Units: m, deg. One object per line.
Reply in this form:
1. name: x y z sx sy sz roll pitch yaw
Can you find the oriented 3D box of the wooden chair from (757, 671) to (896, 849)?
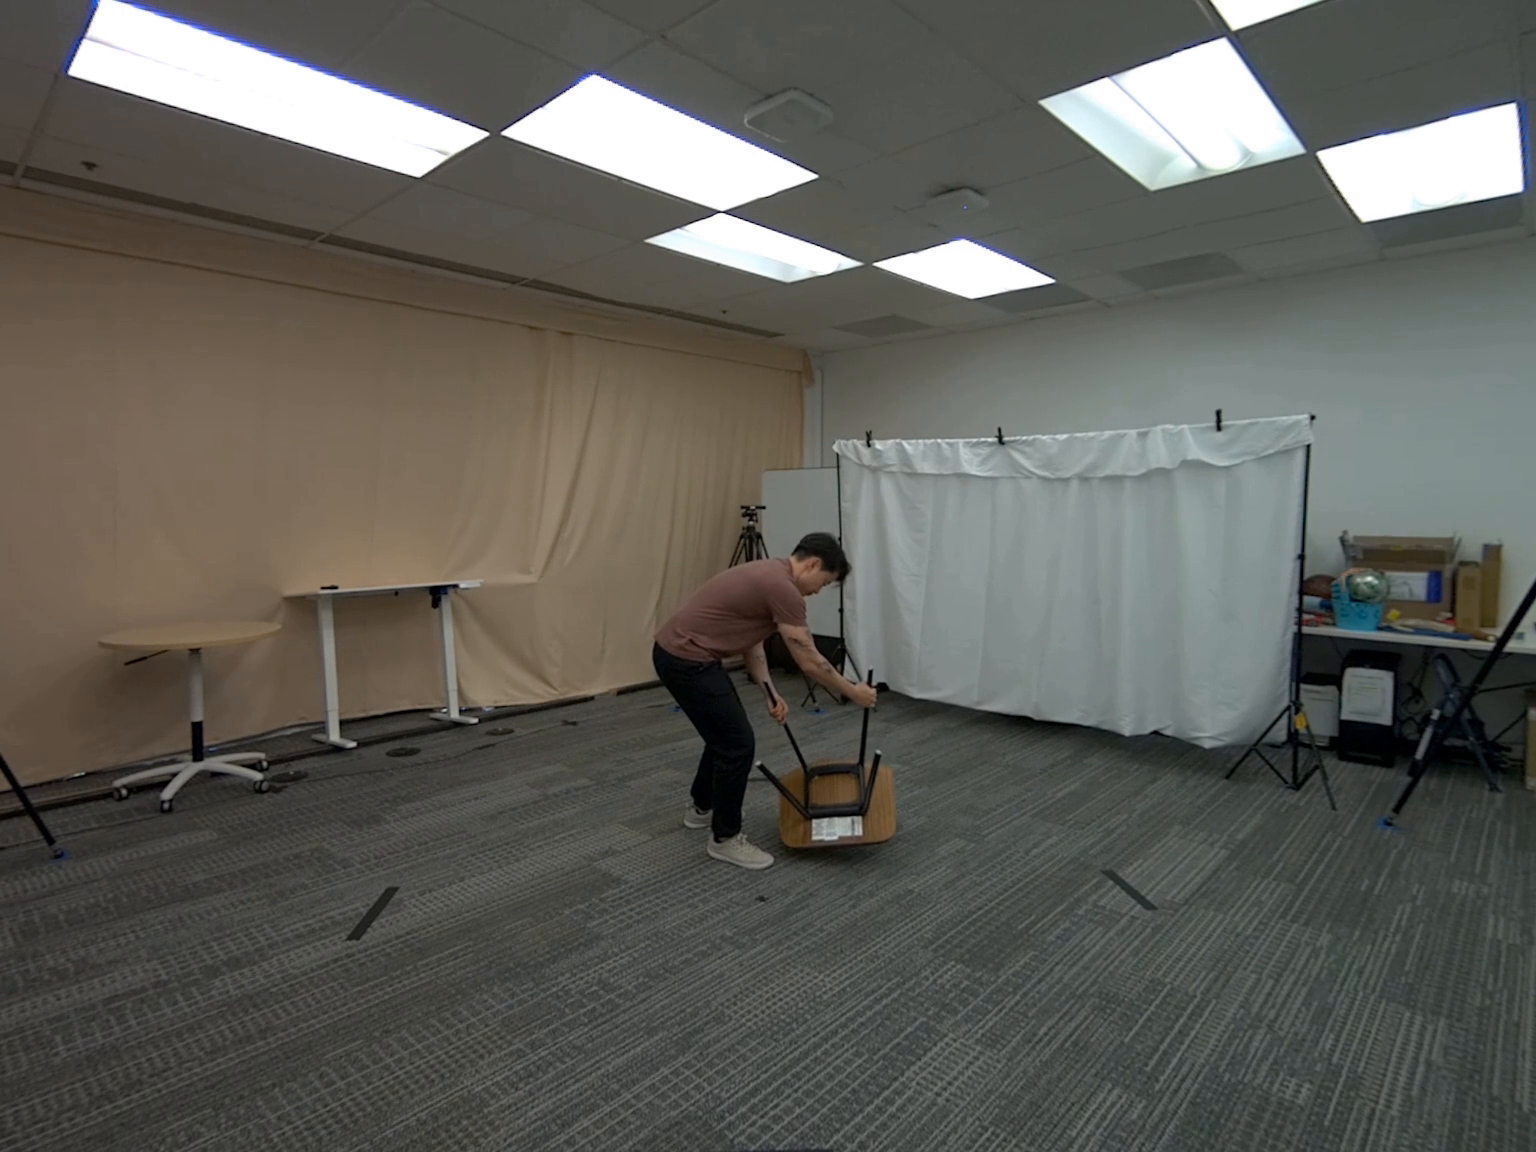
1. wooden chair: 0.277 0.873 3.420 0.483 0.855 0.531 -8 38 9
